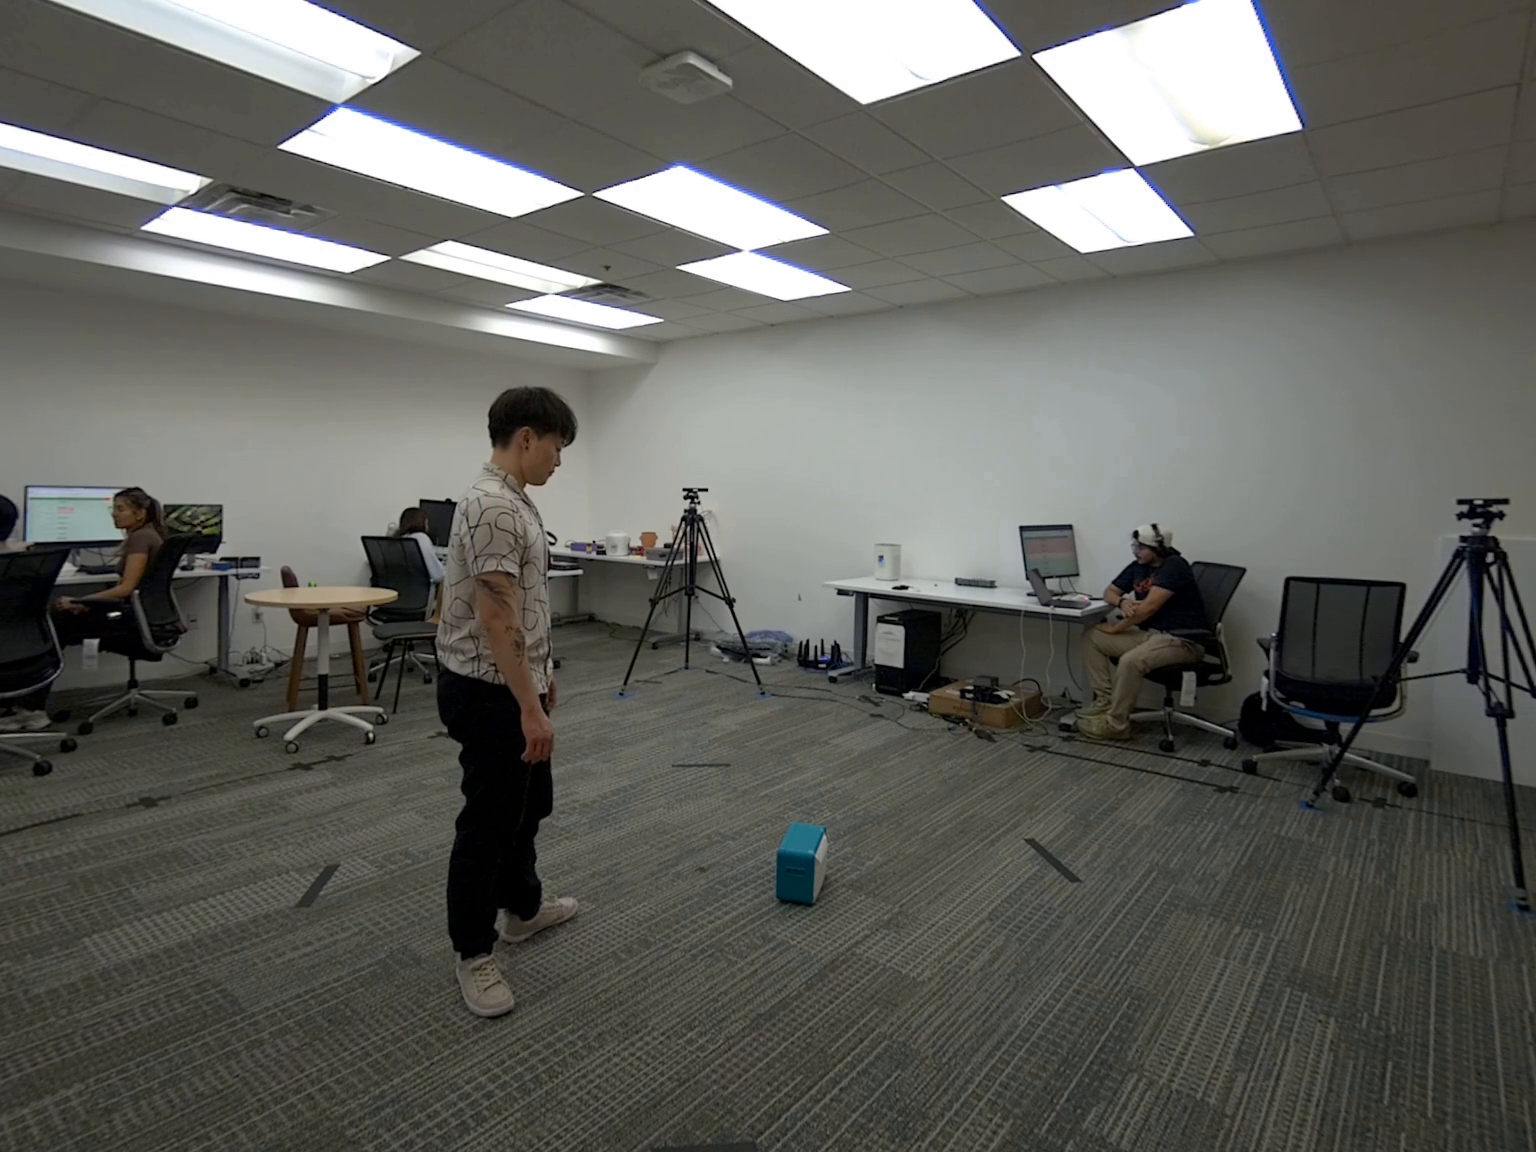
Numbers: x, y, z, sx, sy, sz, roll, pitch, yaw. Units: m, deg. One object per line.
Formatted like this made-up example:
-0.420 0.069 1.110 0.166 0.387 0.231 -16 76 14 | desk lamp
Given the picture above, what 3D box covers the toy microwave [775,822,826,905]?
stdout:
0.120 0.999 2.974 0.155 0.183 0.282 2 5 14 | toy microwave
